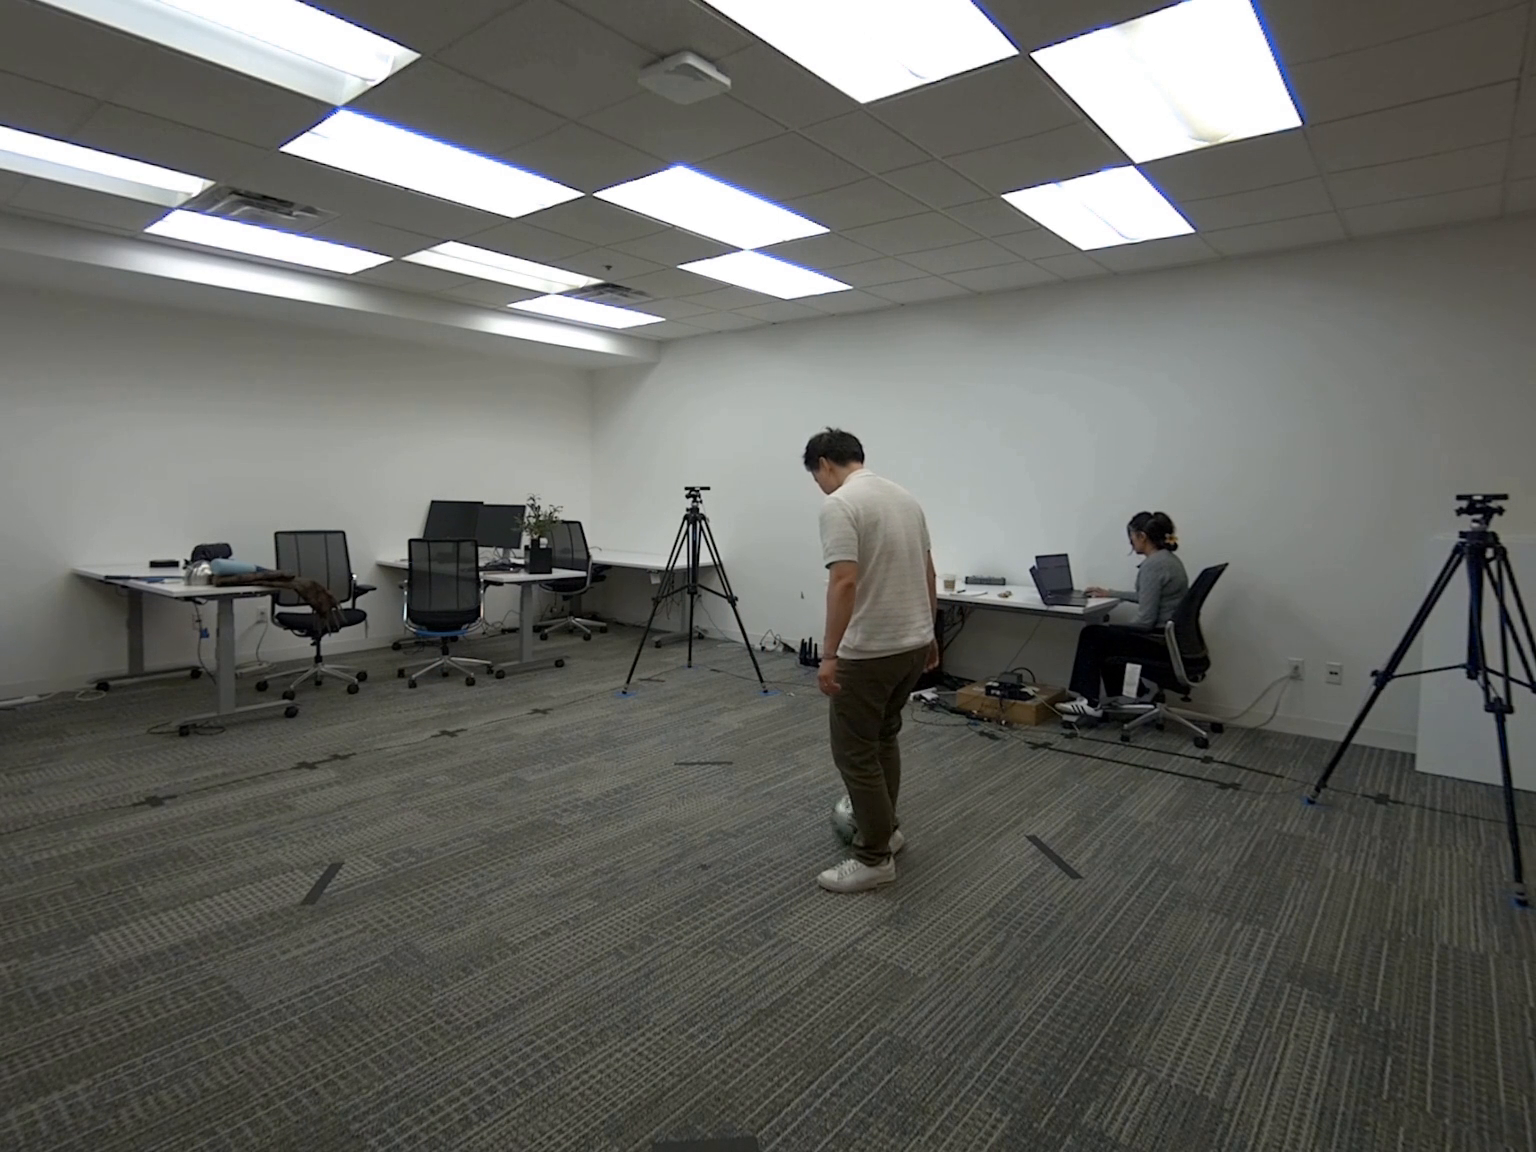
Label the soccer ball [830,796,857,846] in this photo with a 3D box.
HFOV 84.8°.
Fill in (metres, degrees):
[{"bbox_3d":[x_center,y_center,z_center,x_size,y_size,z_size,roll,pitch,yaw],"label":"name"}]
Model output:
[{"bbox_3d":[0.324,0.949,3.360,0.187,0.187,0.188,0,4,-2],"label":"soccer ball"}]
